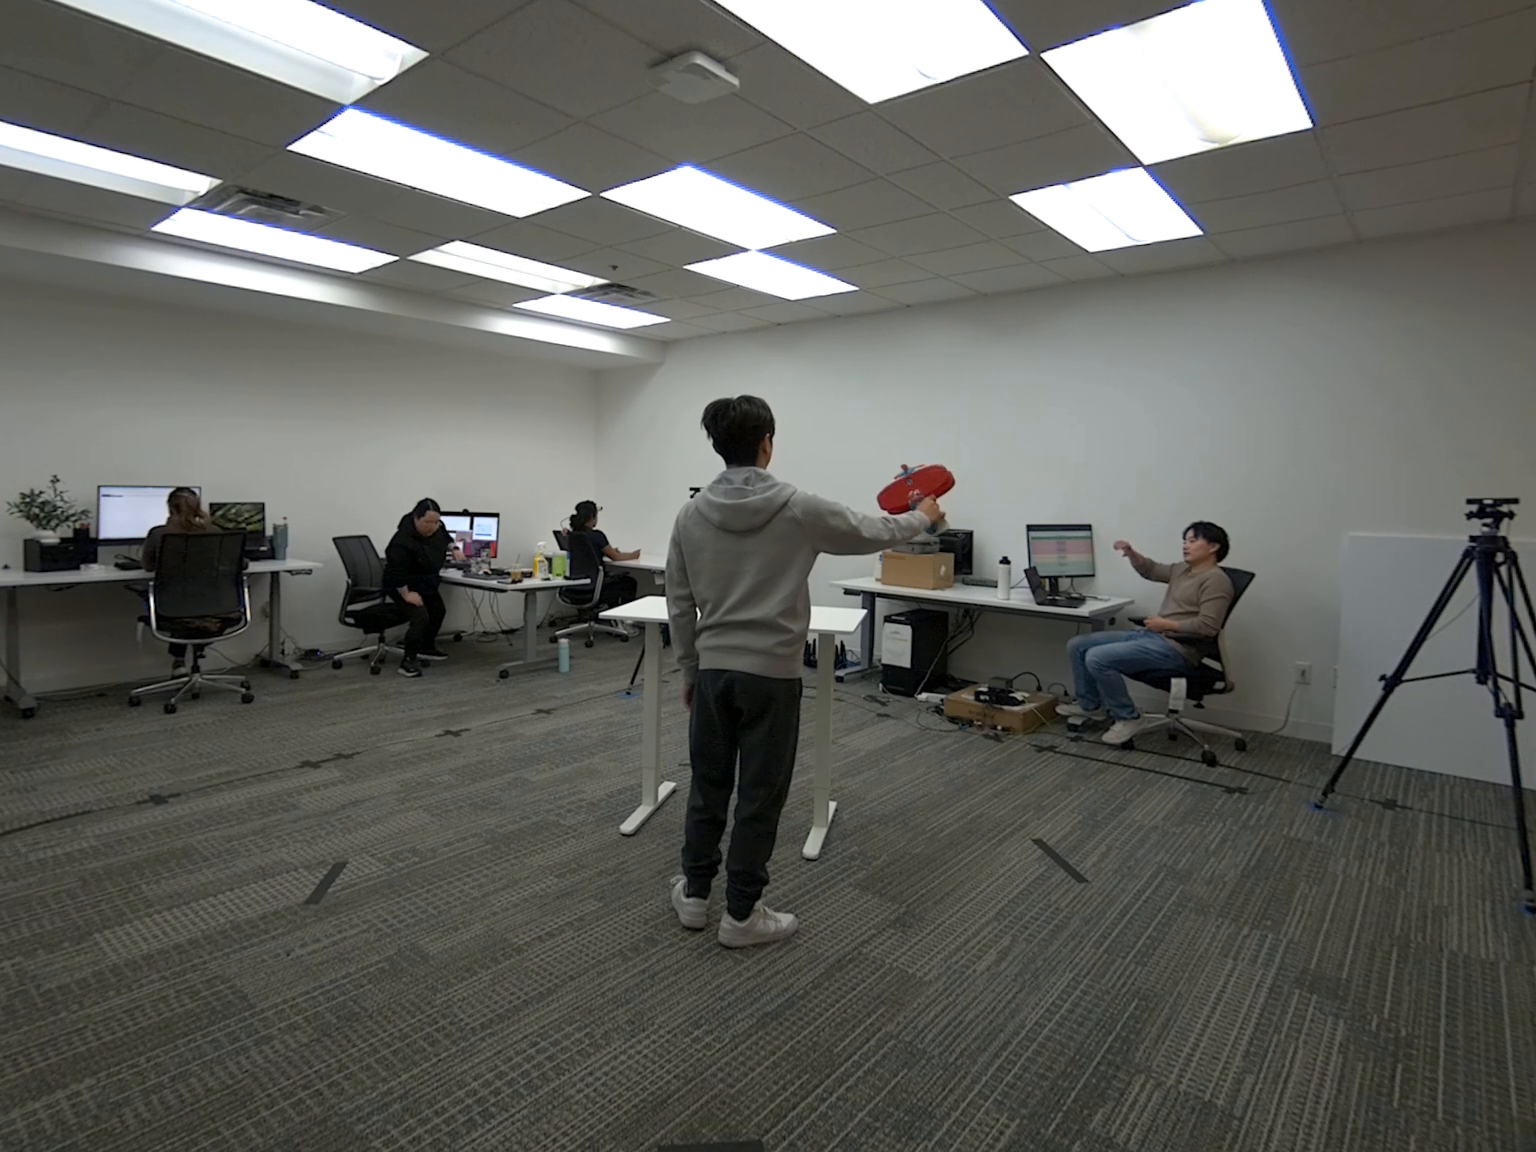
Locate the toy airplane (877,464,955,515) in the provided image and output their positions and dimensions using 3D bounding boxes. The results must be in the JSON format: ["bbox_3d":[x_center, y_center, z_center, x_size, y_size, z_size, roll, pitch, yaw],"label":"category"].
[{"bbox_3d":[0.527,-0.264,2.906,0.270,0.251,0.150,45,5,39],"label":"toy airplane"}]
